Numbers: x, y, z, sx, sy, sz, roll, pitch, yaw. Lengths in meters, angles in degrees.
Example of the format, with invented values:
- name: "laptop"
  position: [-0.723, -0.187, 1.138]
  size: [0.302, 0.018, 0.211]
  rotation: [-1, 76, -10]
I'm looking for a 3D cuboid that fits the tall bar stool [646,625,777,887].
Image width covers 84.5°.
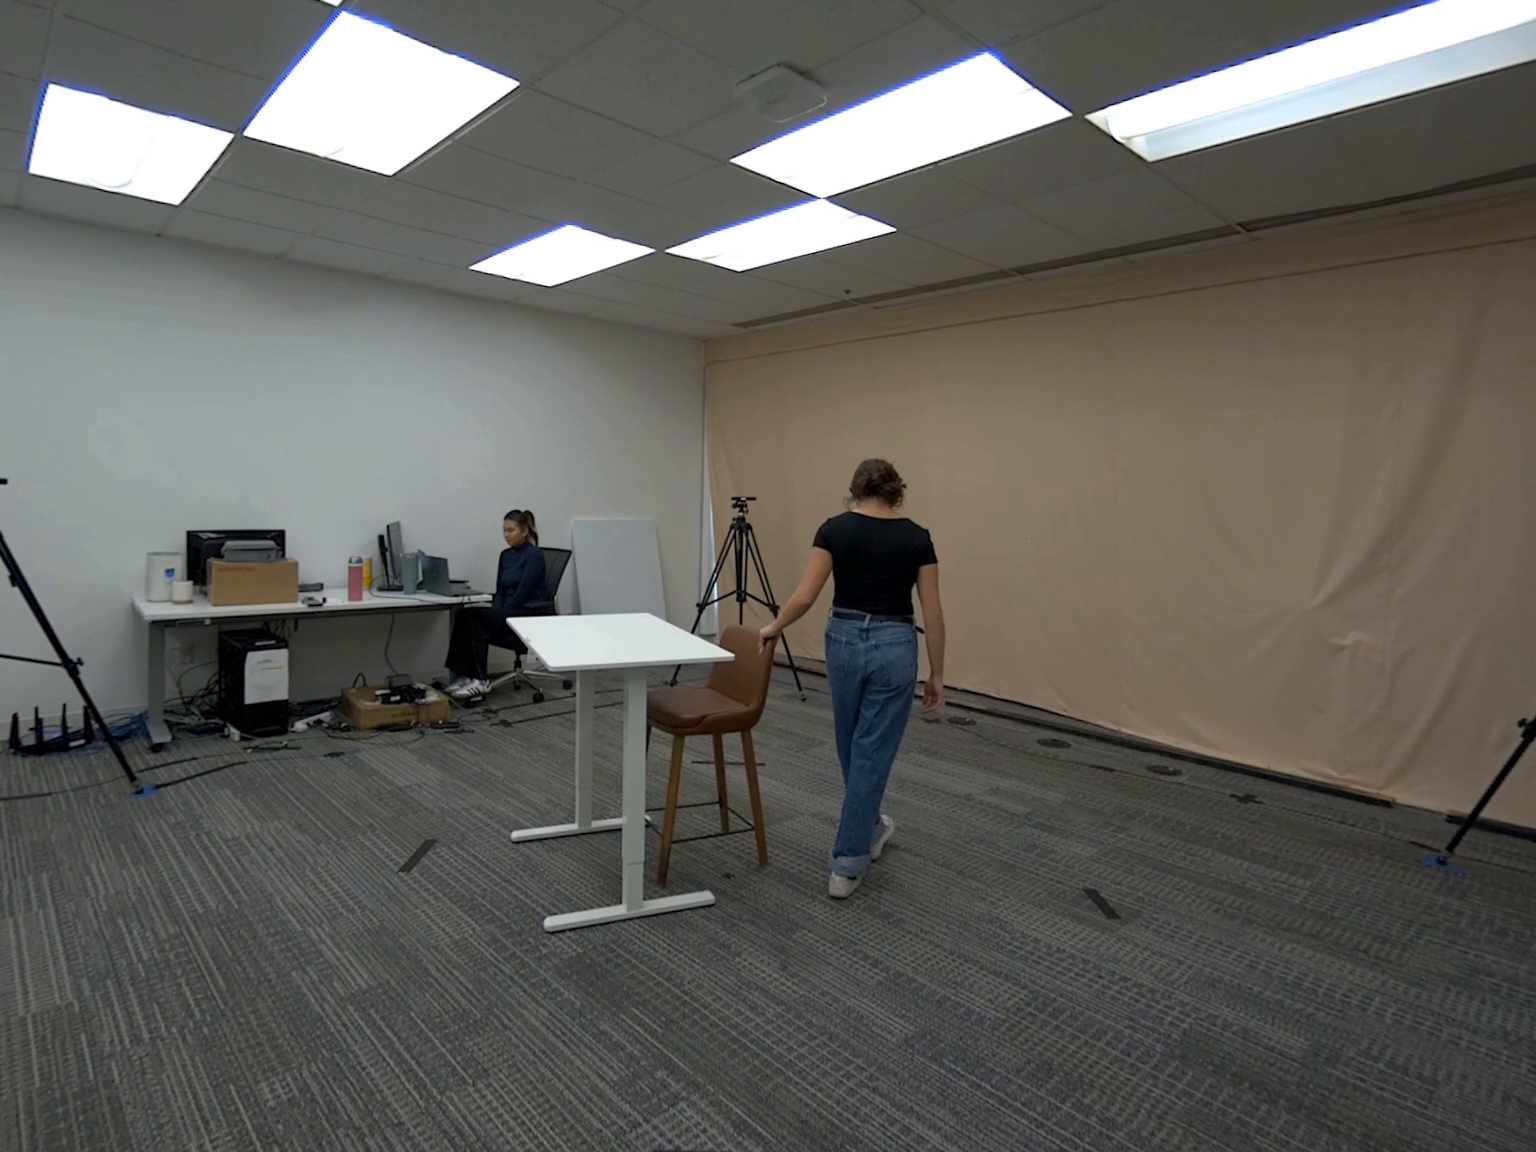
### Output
- name: "tall bar stool"
  position: [-0.263, 0.658, 3.257]
  size: [0.458, 0.889, 0.466]
  rotation: [3, 2, -28]
